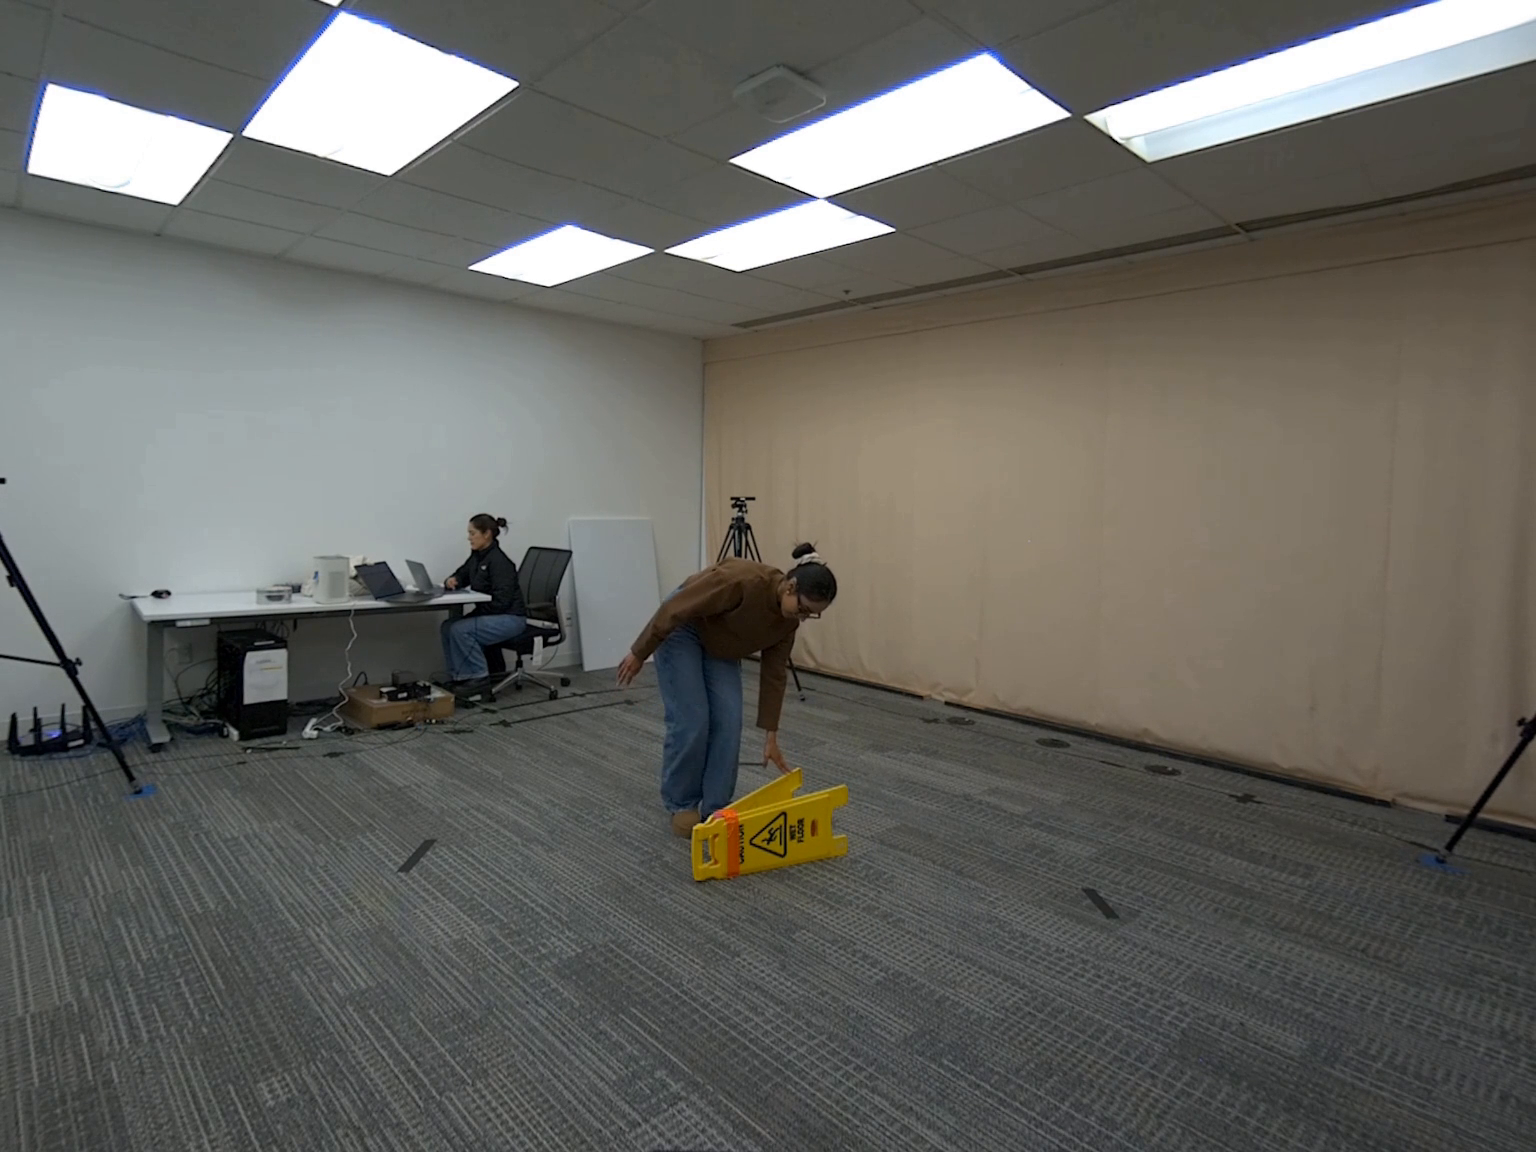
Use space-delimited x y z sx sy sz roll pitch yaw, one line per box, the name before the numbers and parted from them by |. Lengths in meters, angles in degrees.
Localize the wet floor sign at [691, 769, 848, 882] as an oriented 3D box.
wet floor sign | -0.022 0.973 3.221 0.632 0.281 0.297 -6 7 -39
